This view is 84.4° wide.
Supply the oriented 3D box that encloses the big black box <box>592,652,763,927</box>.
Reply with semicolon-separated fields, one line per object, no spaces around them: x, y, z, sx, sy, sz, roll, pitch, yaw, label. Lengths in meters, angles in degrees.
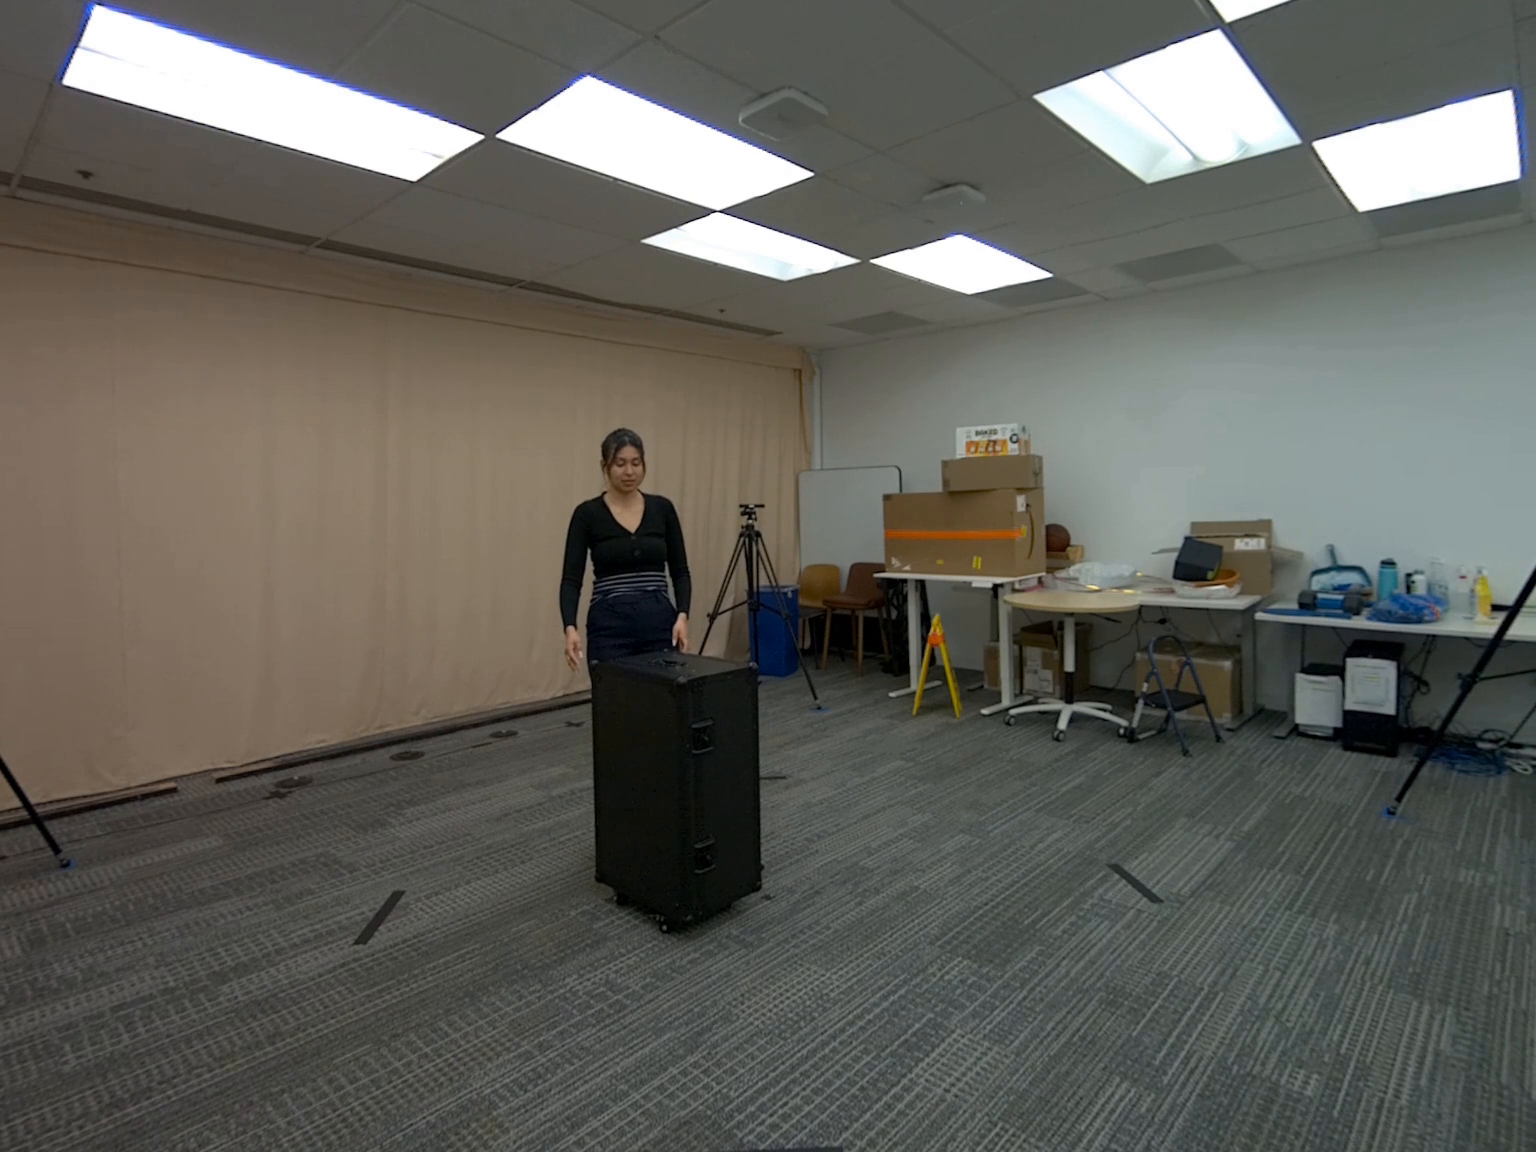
-0.306;0.673;2.922;0.538;0.860;0.384;1;4;44;big black box
